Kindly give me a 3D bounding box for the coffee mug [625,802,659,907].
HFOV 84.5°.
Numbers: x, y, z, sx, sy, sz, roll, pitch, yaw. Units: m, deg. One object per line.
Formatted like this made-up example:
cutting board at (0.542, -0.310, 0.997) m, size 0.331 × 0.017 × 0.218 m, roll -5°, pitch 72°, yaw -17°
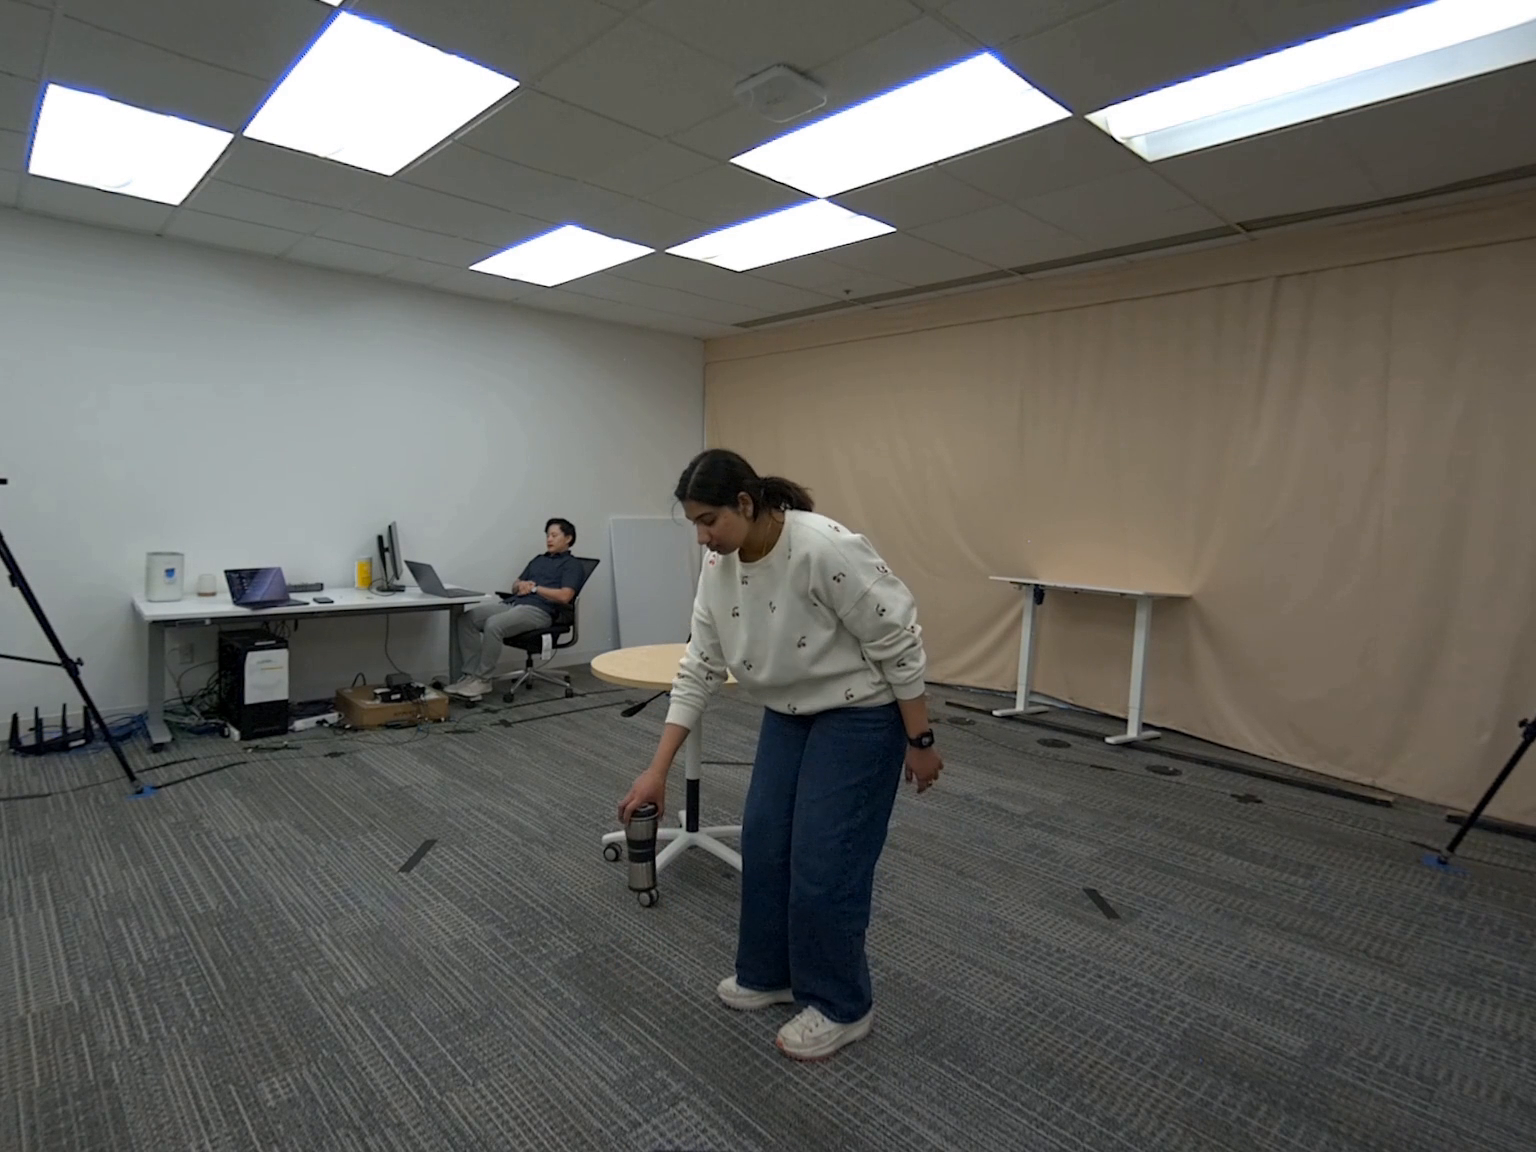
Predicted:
coffee mug at (-0.303, 0.674, 2.119) m, size 0.090 × 0.203 × 0.119 m, roll -3°, pitch 3°, yaw 40°
